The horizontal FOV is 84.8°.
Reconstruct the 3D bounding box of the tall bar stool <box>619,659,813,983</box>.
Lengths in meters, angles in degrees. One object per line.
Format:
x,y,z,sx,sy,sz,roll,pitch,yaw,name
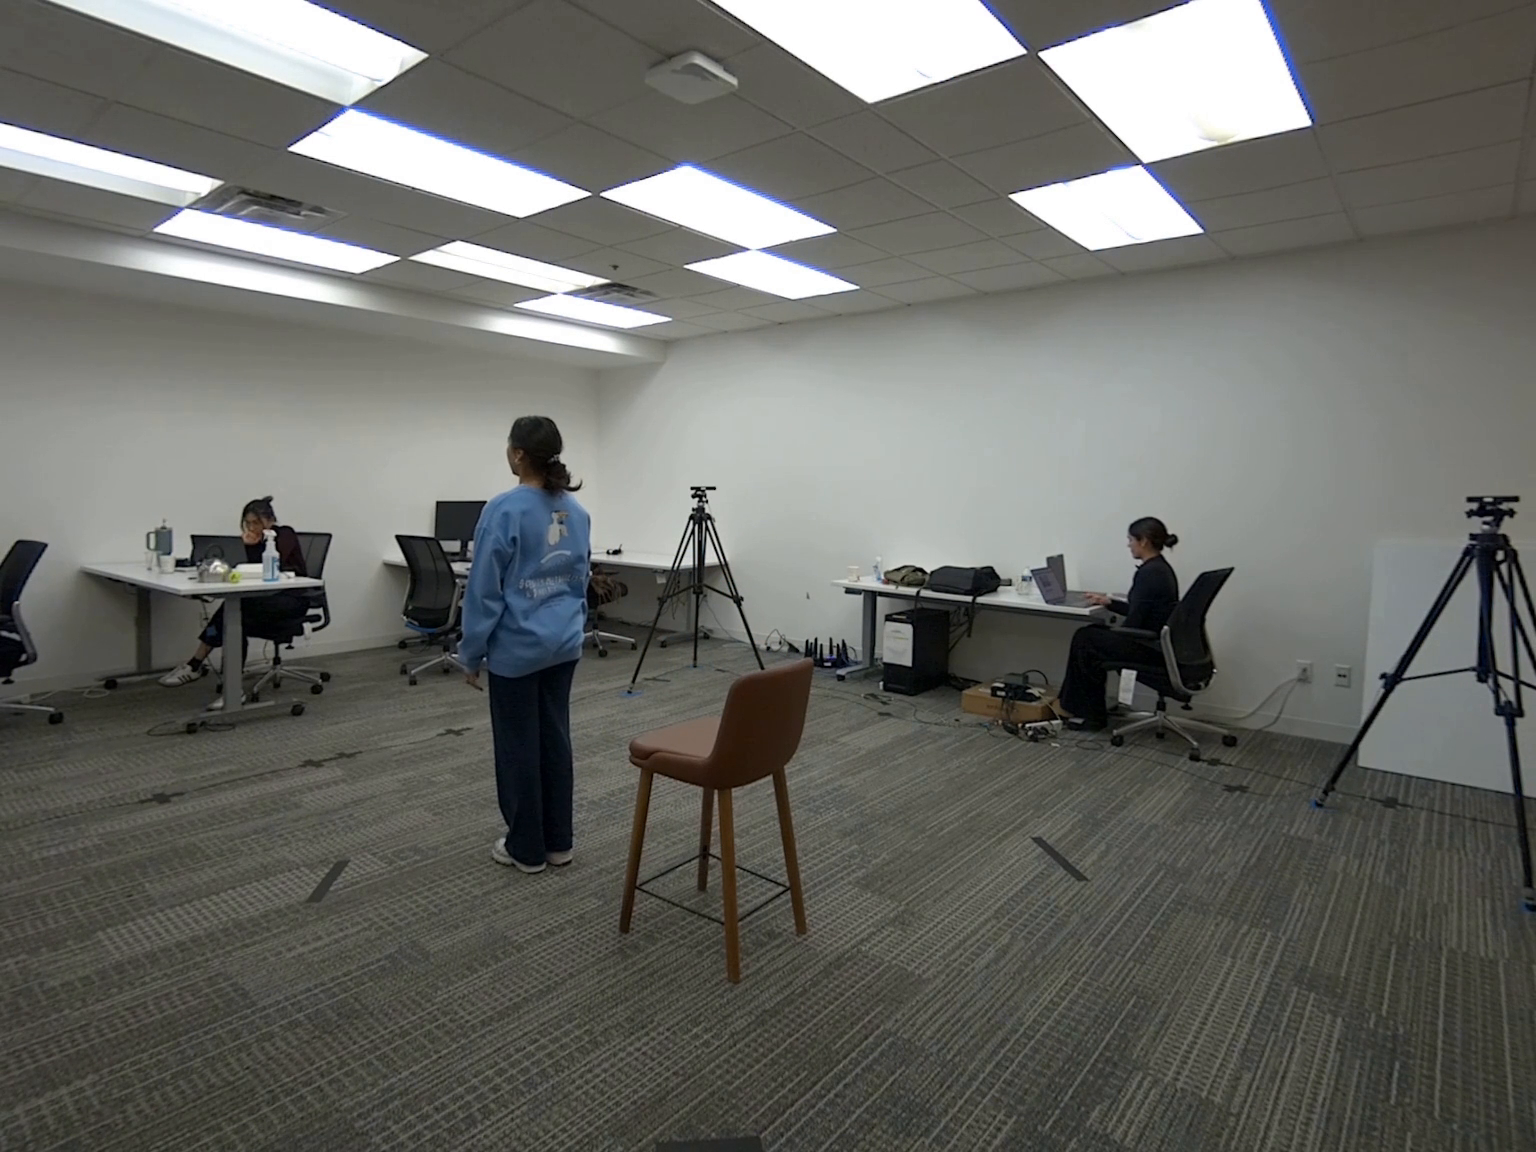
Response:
-0.159,0.676,2.635,0.483,0.886,0.443,6,6,37,tall bar stool
